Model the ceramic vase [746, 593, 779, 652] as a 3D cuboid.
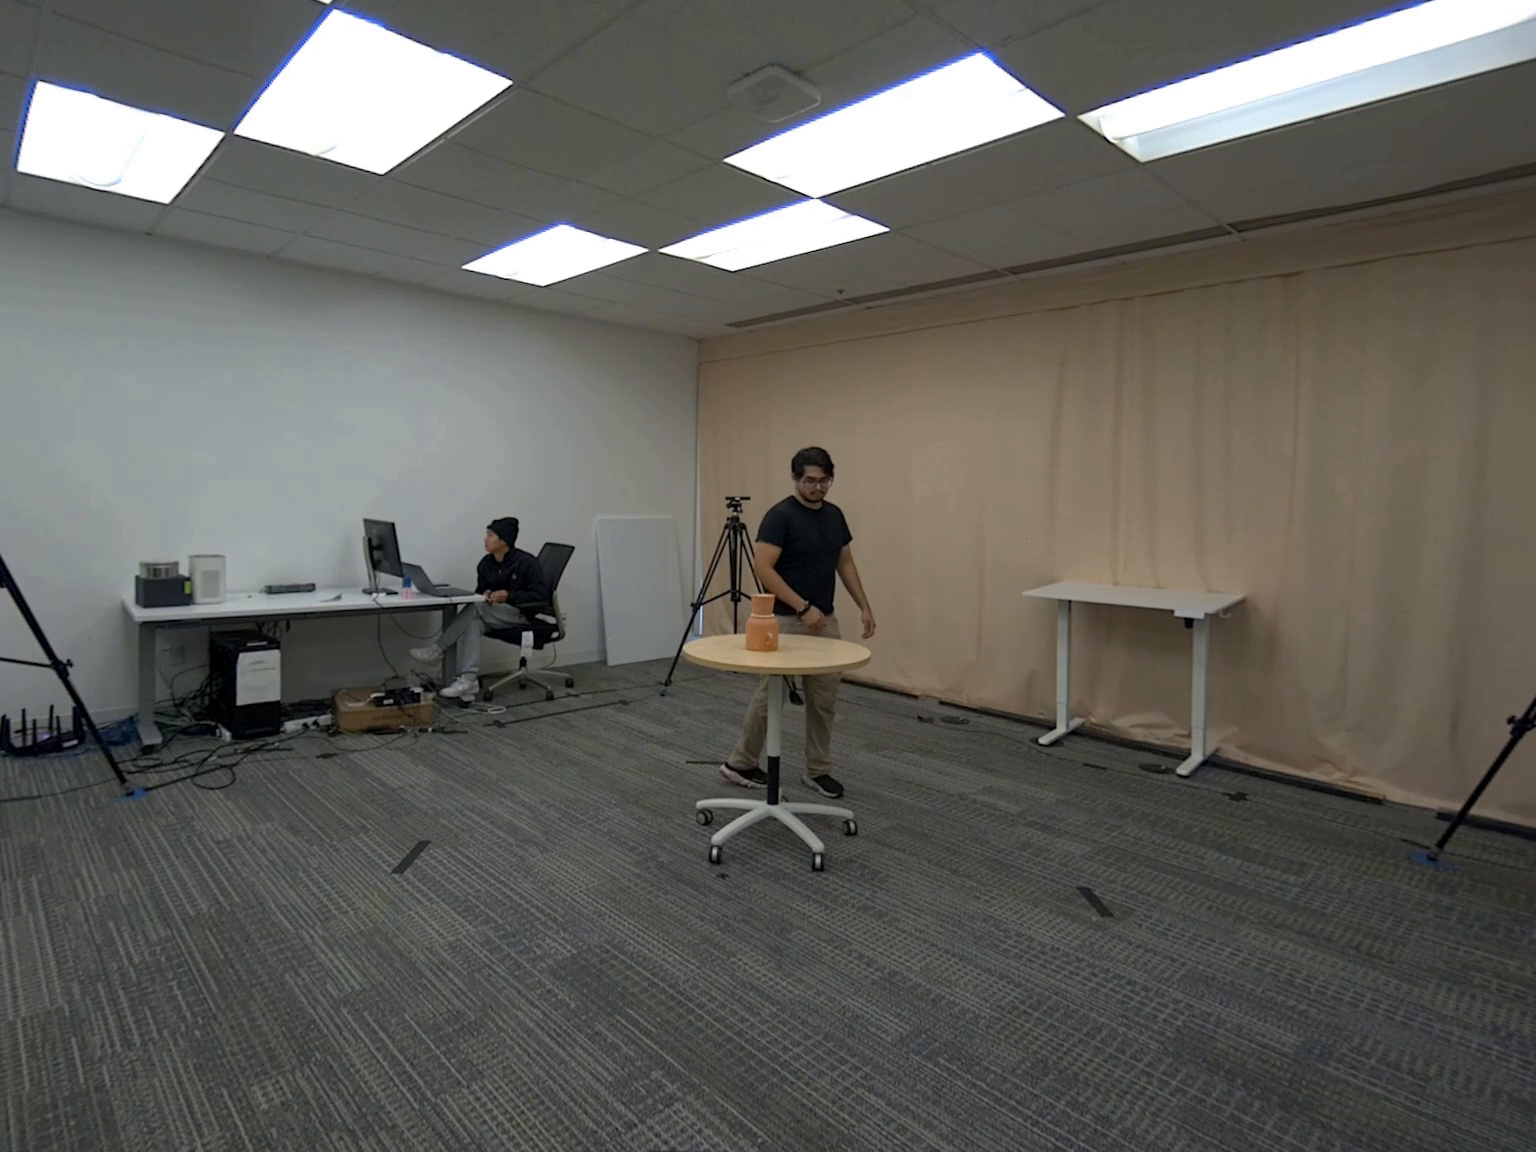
[{"bbox_3d":[-0.032,0.188,3.439,0.162,0.219,0.132,5,5,30],"label":"ceramic vase"}]
